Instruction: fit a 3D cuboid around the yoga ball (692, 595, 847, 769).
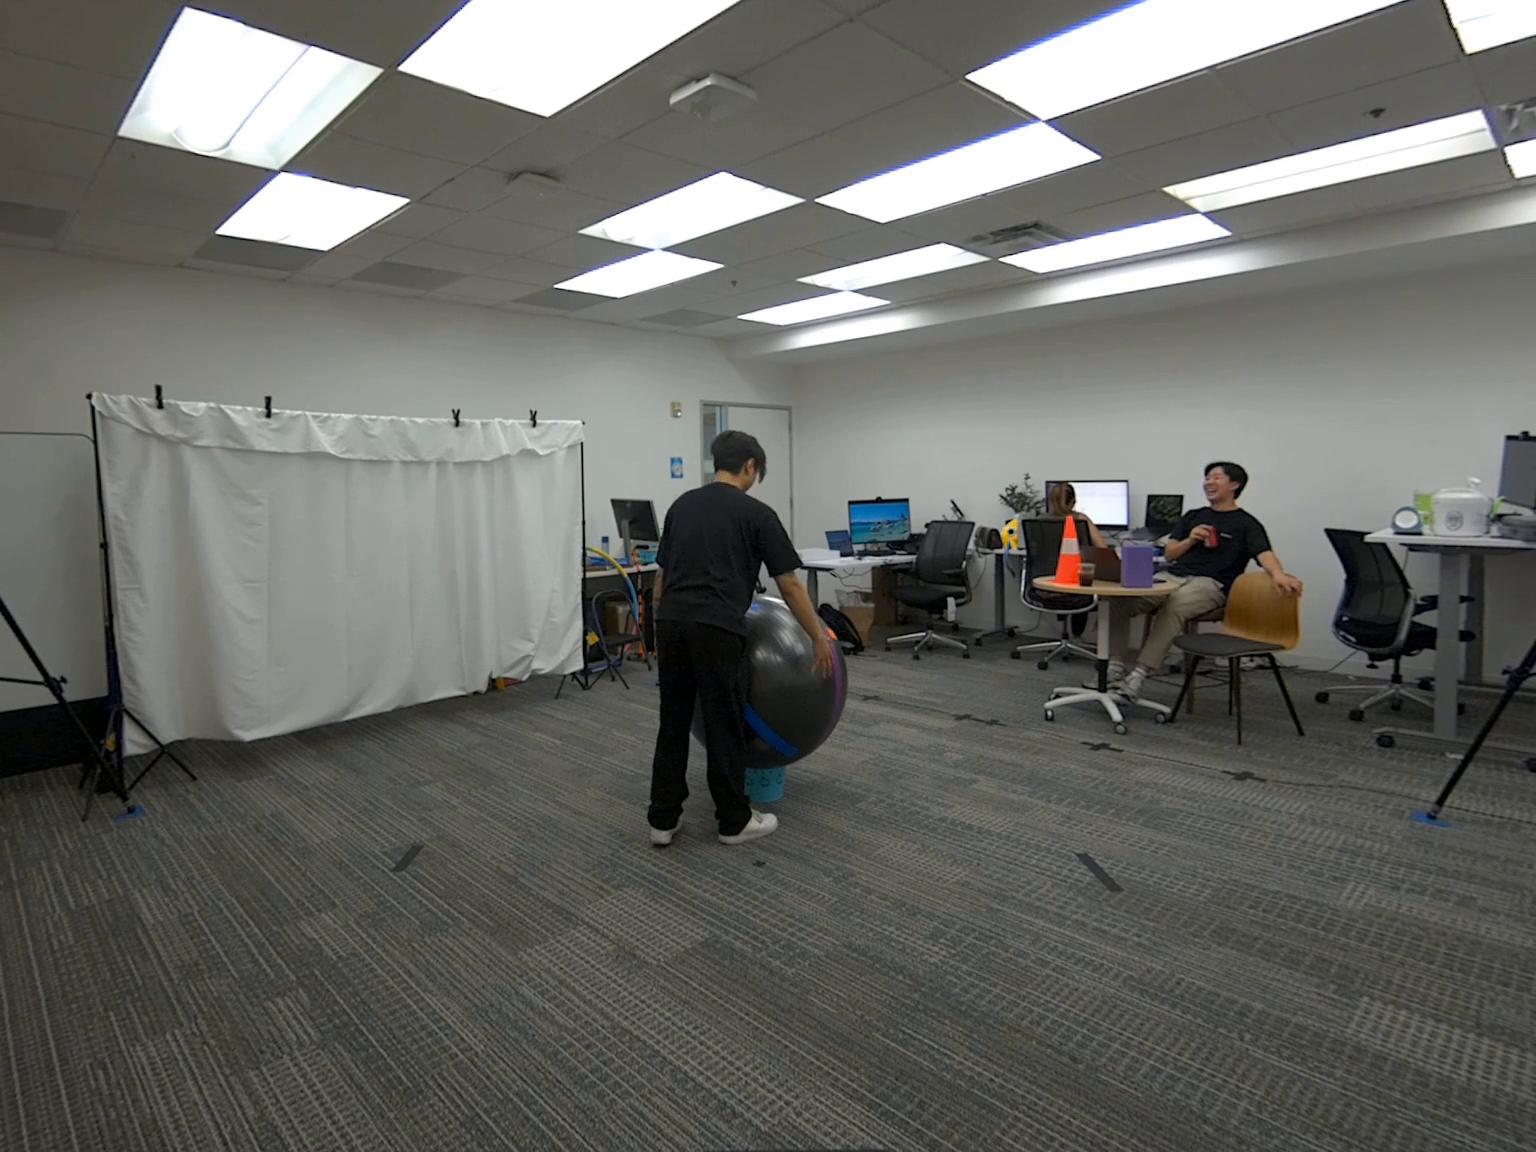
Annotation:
[{"bbox_3d":[-0.029,0.466,3.783,0.757,0.755,0.762,-1,5,-2],"label":"yoga ball"}]
